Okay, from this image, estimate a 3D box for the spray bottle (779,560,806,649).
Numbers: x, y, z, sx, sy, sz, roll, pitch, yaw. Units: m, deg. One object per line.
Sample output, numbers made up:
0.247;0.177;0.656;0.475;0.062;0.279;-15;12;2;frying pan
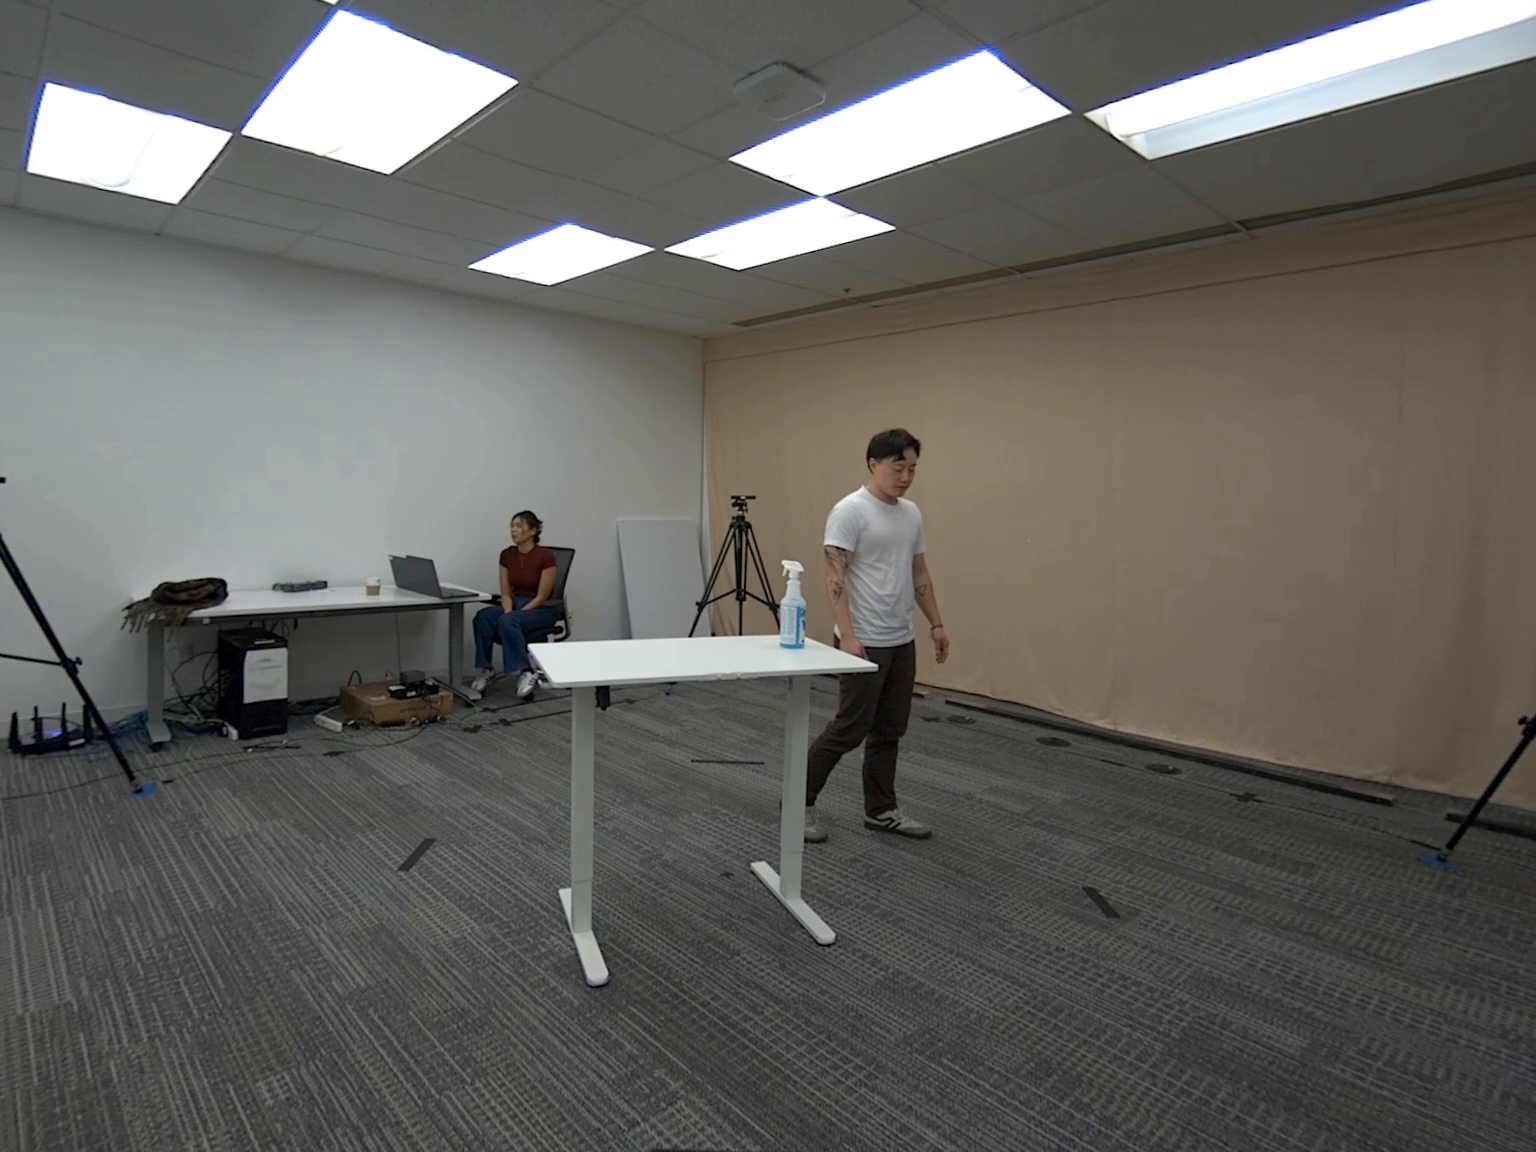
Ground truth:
0.081;0.101;2.902;0.085;0.296;0.092;-3;5;-23;spray bottle
